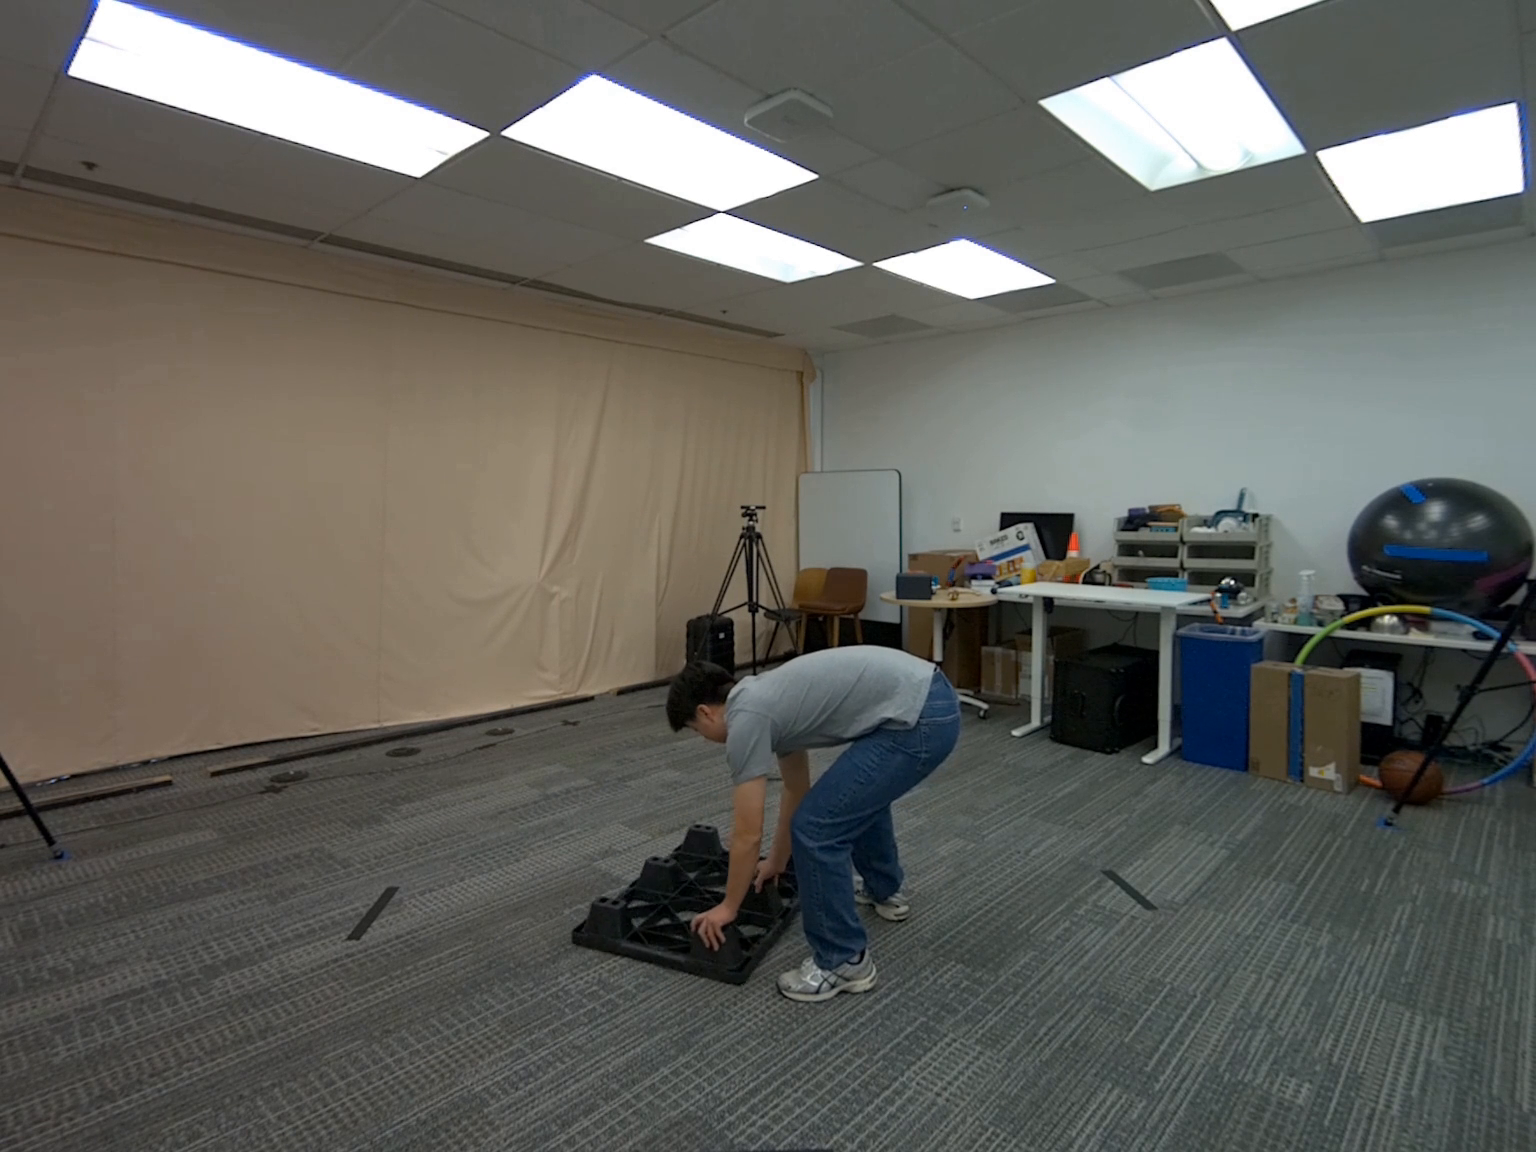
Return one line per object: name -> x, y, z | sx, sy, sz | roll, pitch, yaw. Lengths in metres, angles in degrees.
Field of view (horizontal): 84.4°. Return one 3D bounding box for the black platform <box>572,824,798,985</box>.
black platform -> -0.214, 1.083, 2.919 | 0.620, 0.143, 0.788 | 2, 5, 23
